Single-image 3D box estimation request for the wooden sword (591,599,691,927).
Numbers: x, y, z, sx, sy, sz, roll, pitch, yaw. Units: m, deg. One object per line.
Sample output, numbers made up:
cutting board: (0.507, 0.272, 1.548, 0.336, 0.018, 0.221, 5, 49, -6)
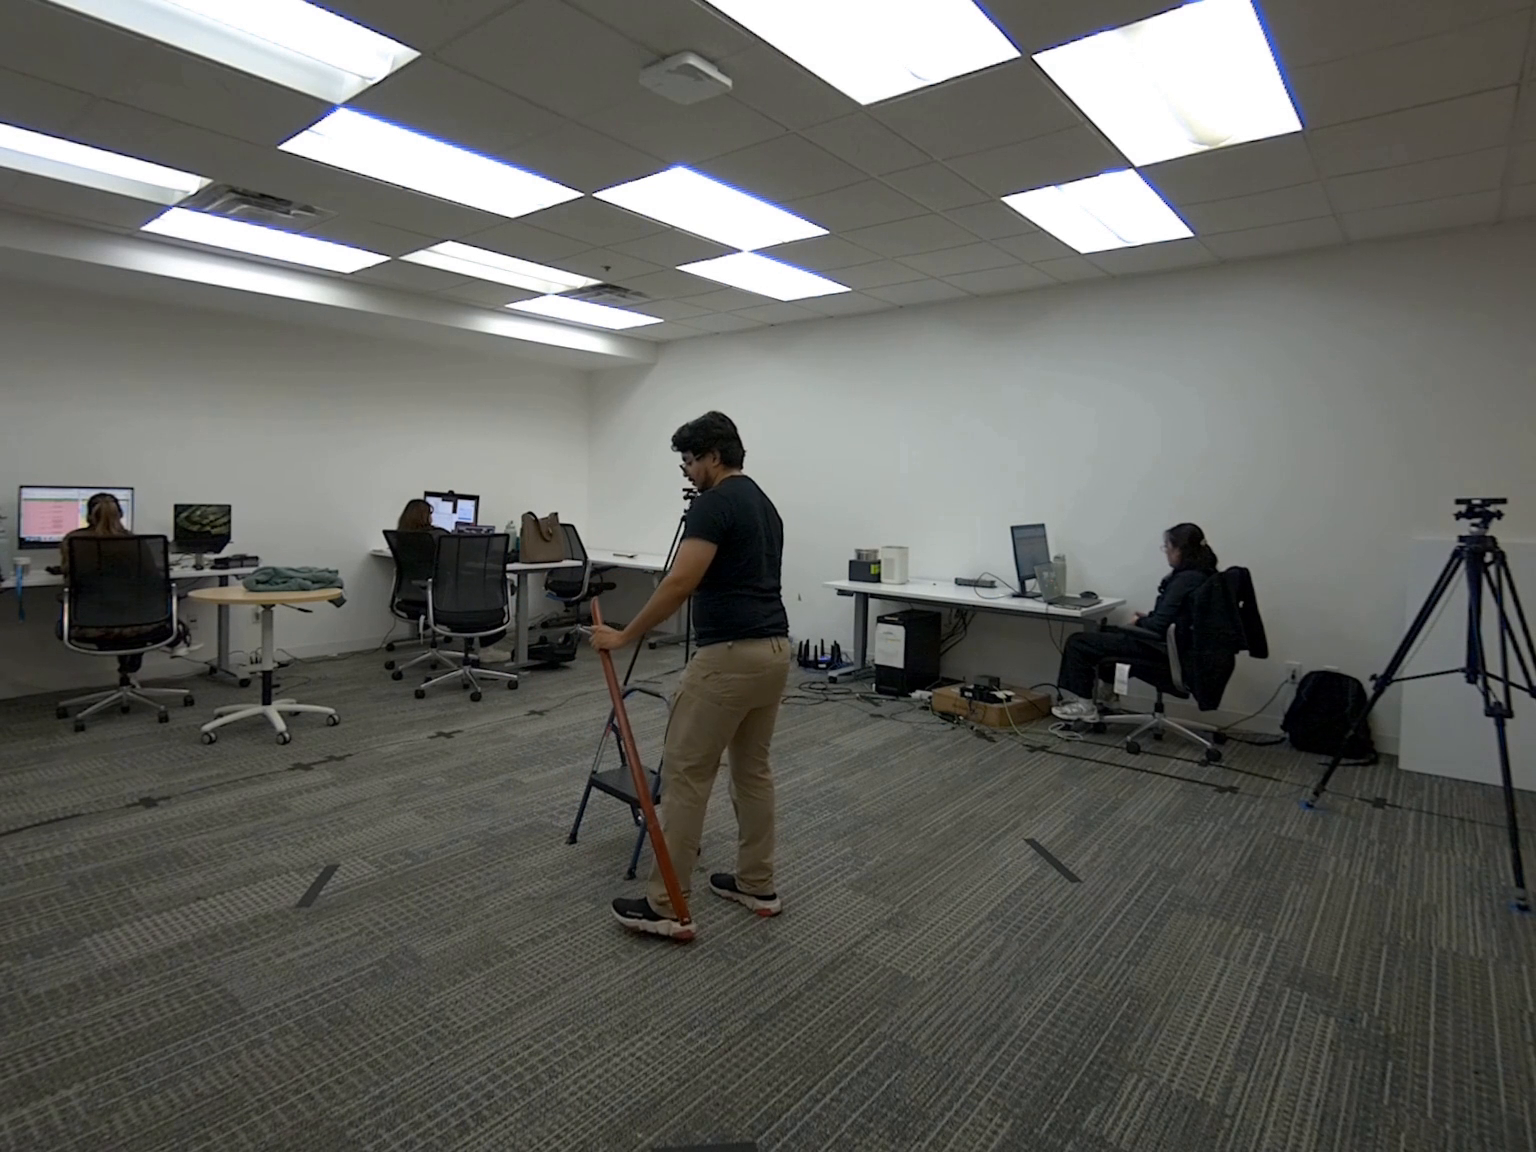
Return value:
wooden sword: (-0.394, 0.517, 2.484, 0.051, 1.059, 0.023, -33, -29, 15)
